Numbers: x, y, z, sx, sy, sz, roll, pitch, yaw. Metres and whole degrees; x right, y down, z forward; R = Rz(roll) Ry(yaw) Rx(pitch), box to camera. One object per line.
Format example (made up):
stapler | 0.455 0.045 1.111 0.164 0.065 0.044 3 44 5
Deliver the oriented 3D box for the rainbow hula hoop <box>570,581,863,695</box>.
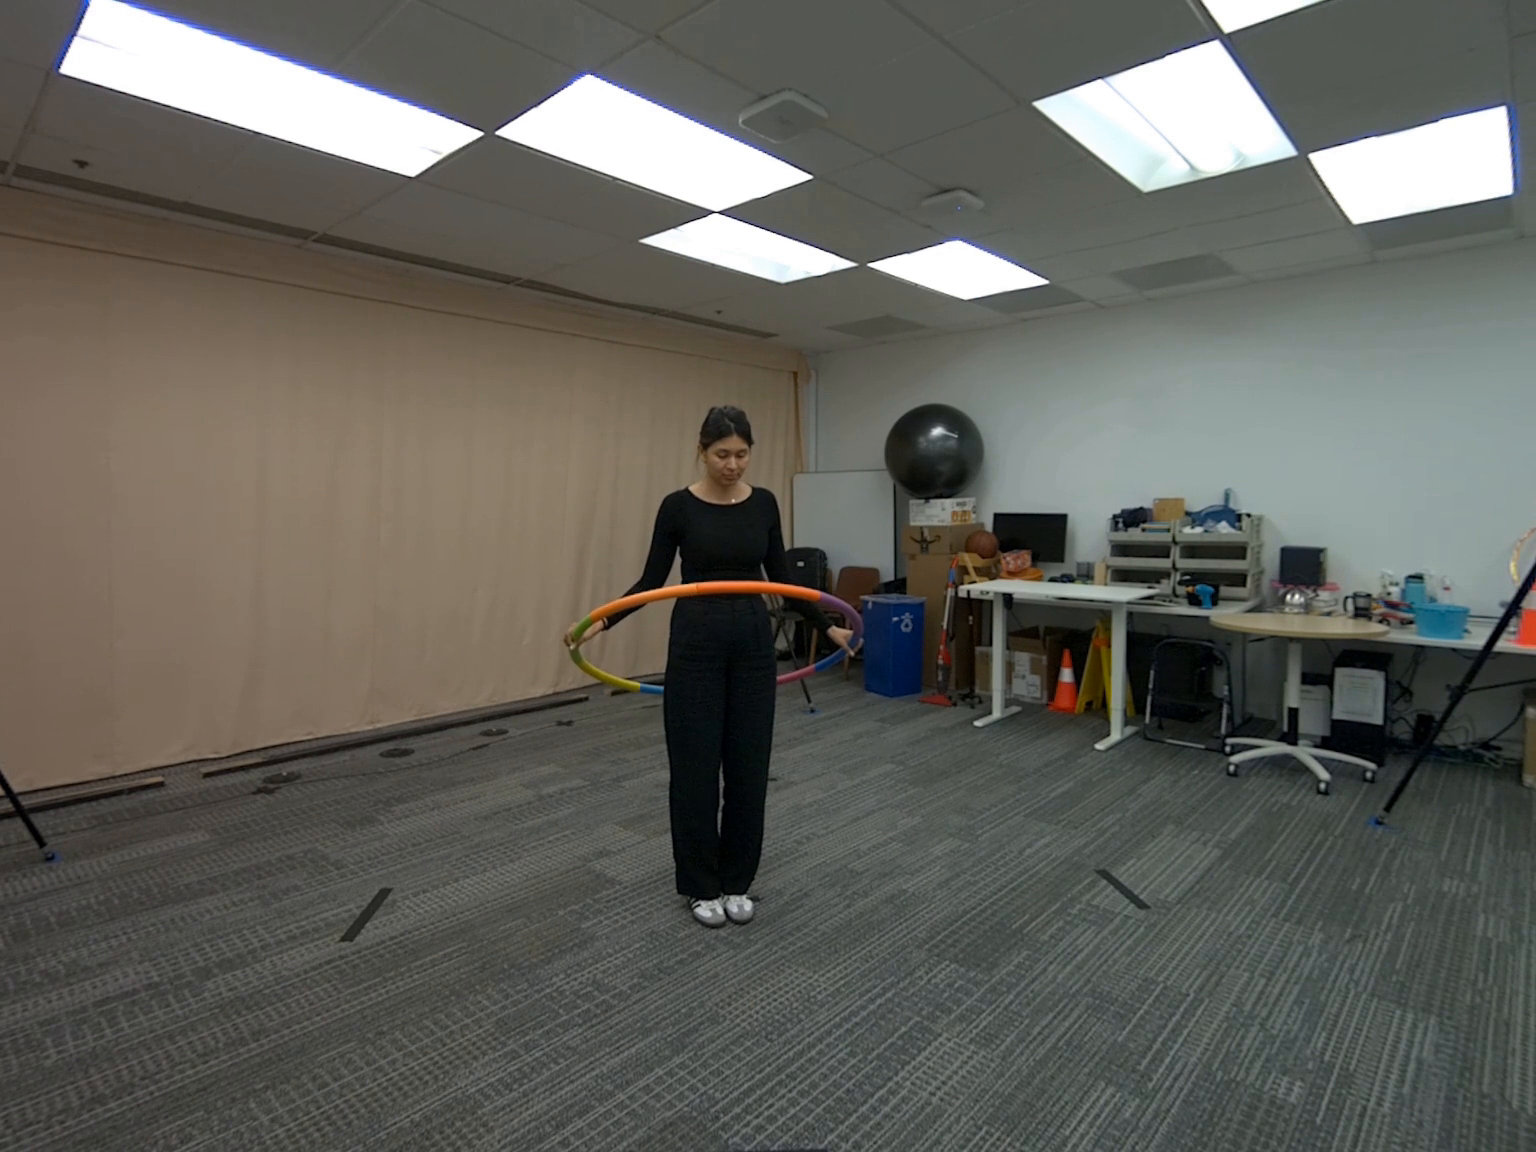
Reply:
rainbow hula hoop | -0.170 0.235 2.834 0.976 0.036 0.965 -2 -25 -3
